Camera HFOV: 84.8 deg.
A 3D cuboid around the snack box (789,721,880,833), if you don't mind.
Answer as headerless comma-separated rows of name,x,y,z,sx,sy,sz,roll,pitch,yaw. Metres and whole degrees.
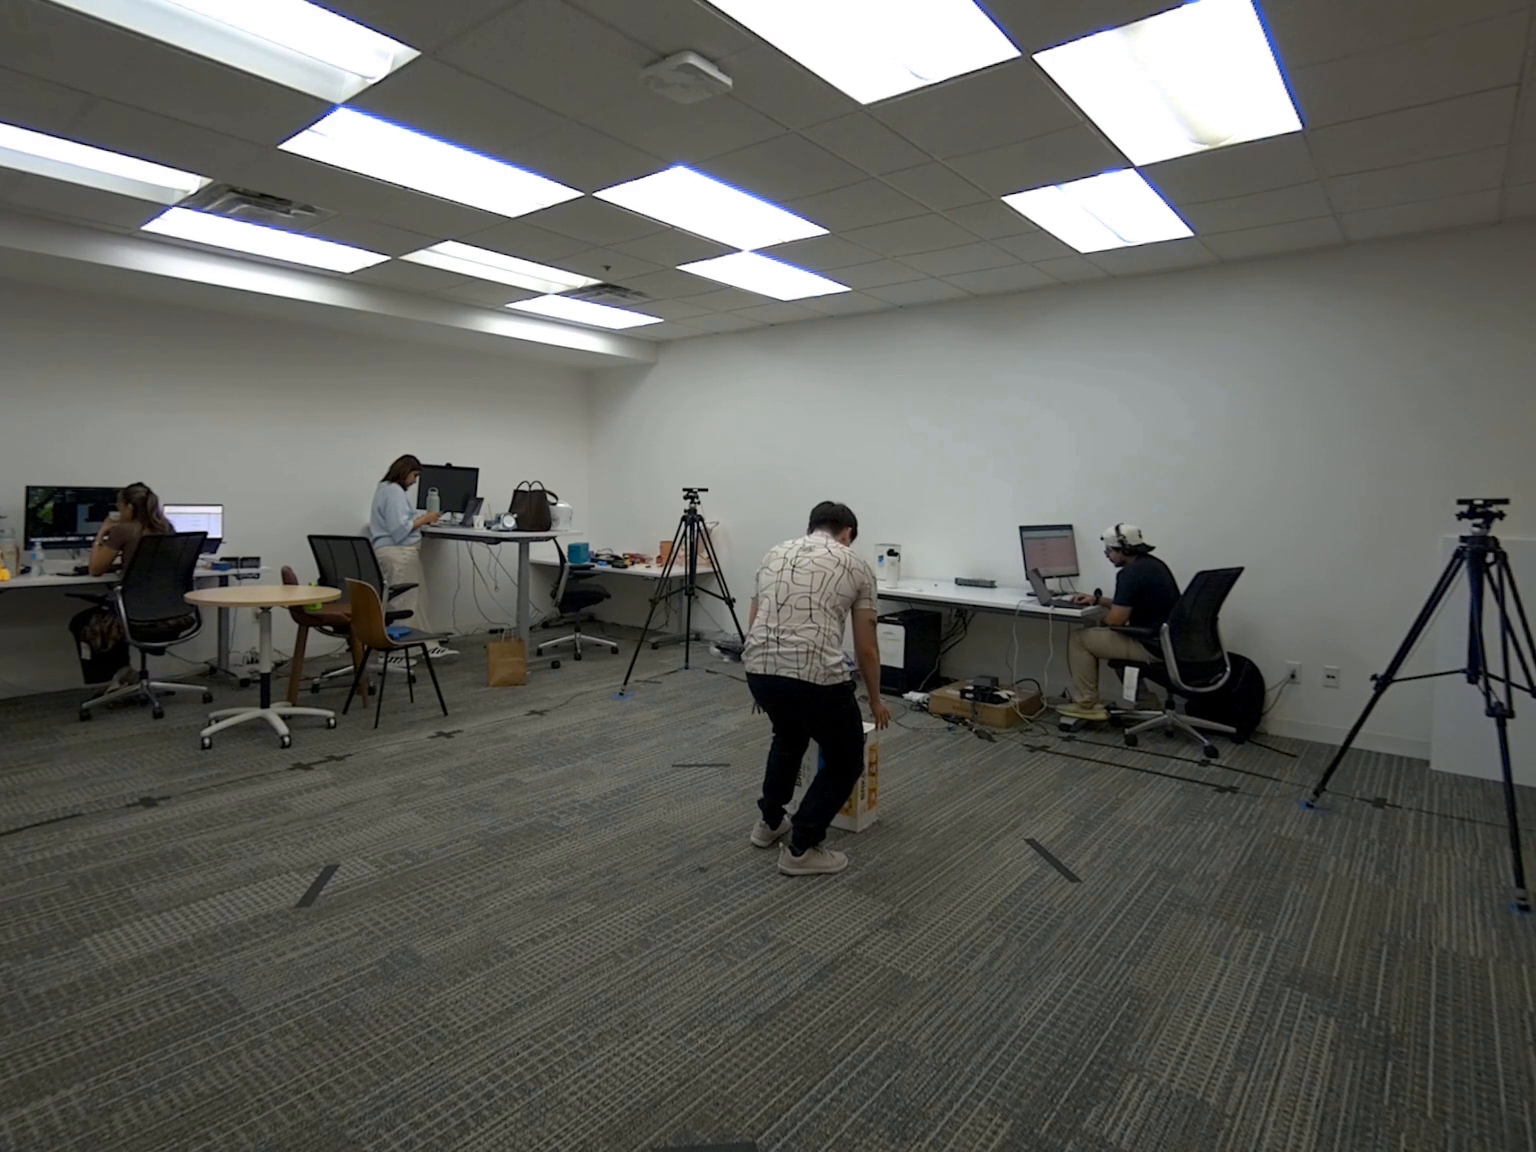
snack box,0.270,0.829,3.633,0.351,0.404,0.200,4,3,34
